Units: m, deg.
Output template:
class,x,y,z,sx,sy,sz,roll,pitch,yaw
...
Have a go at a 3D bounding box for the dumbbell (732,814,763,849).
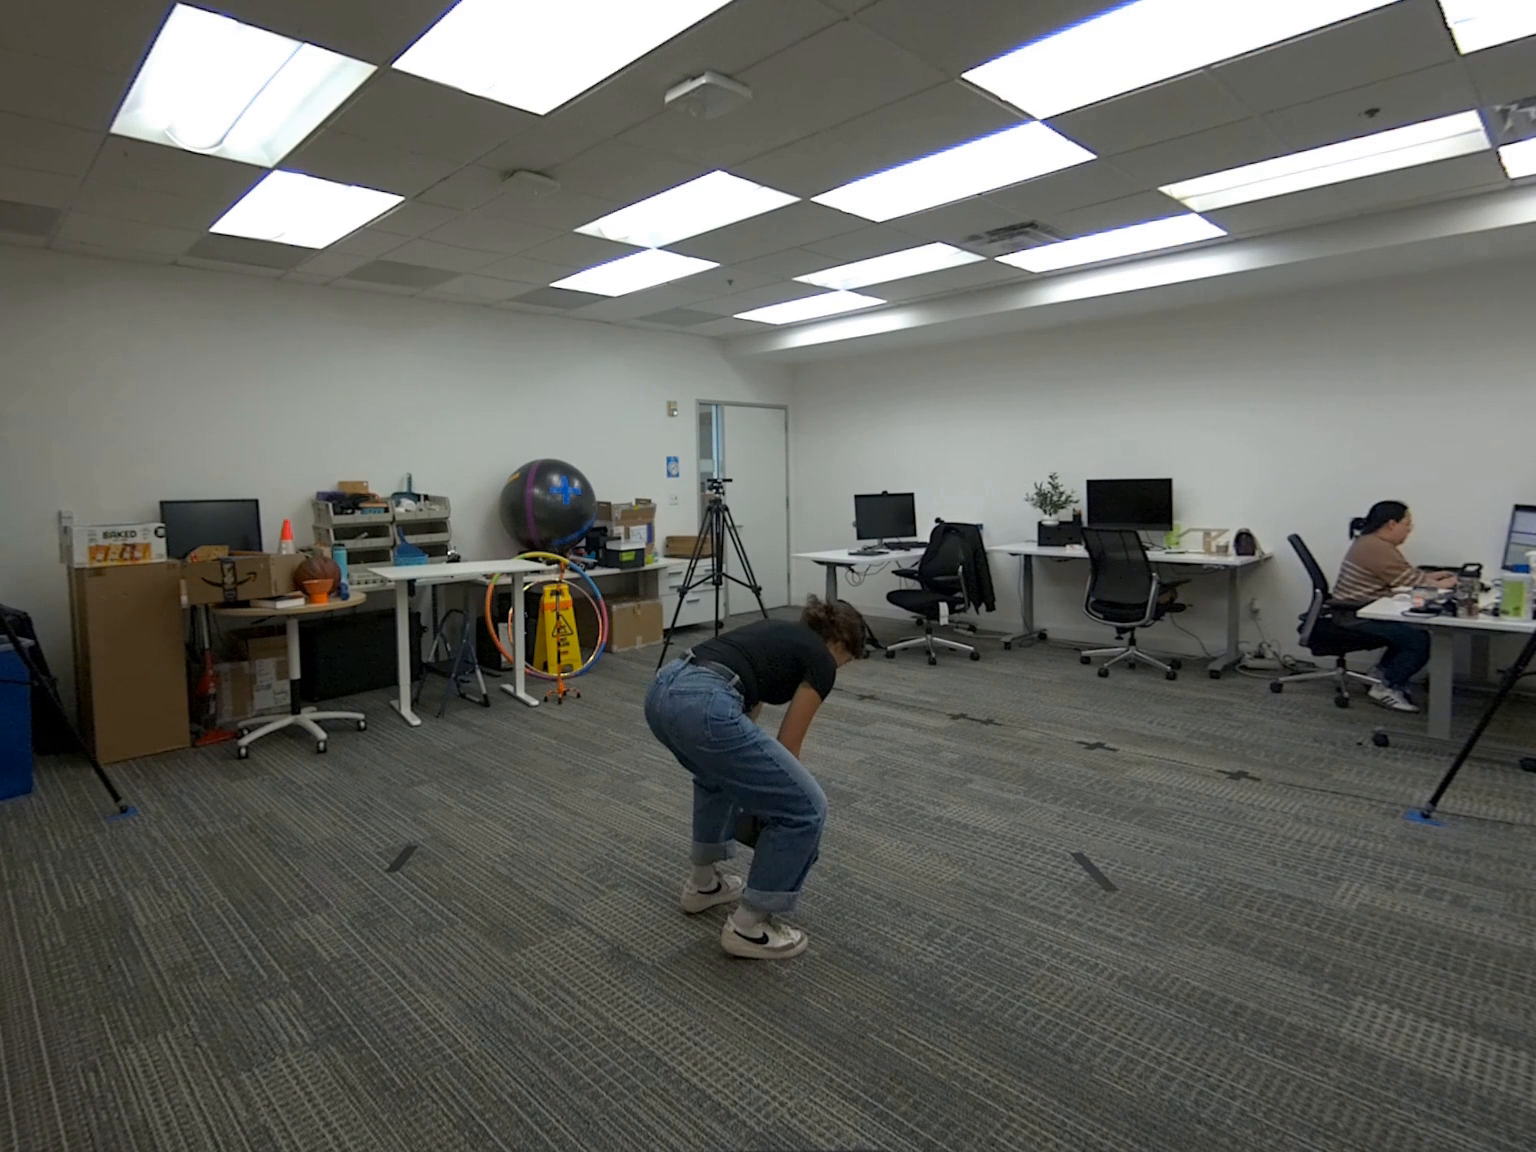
class,x,y,z,sx,sy,sz,roll,pitch,yaw
dumbbell,0.045,0.834,2.702,0.285,0.122,0.112,24,19,-26
